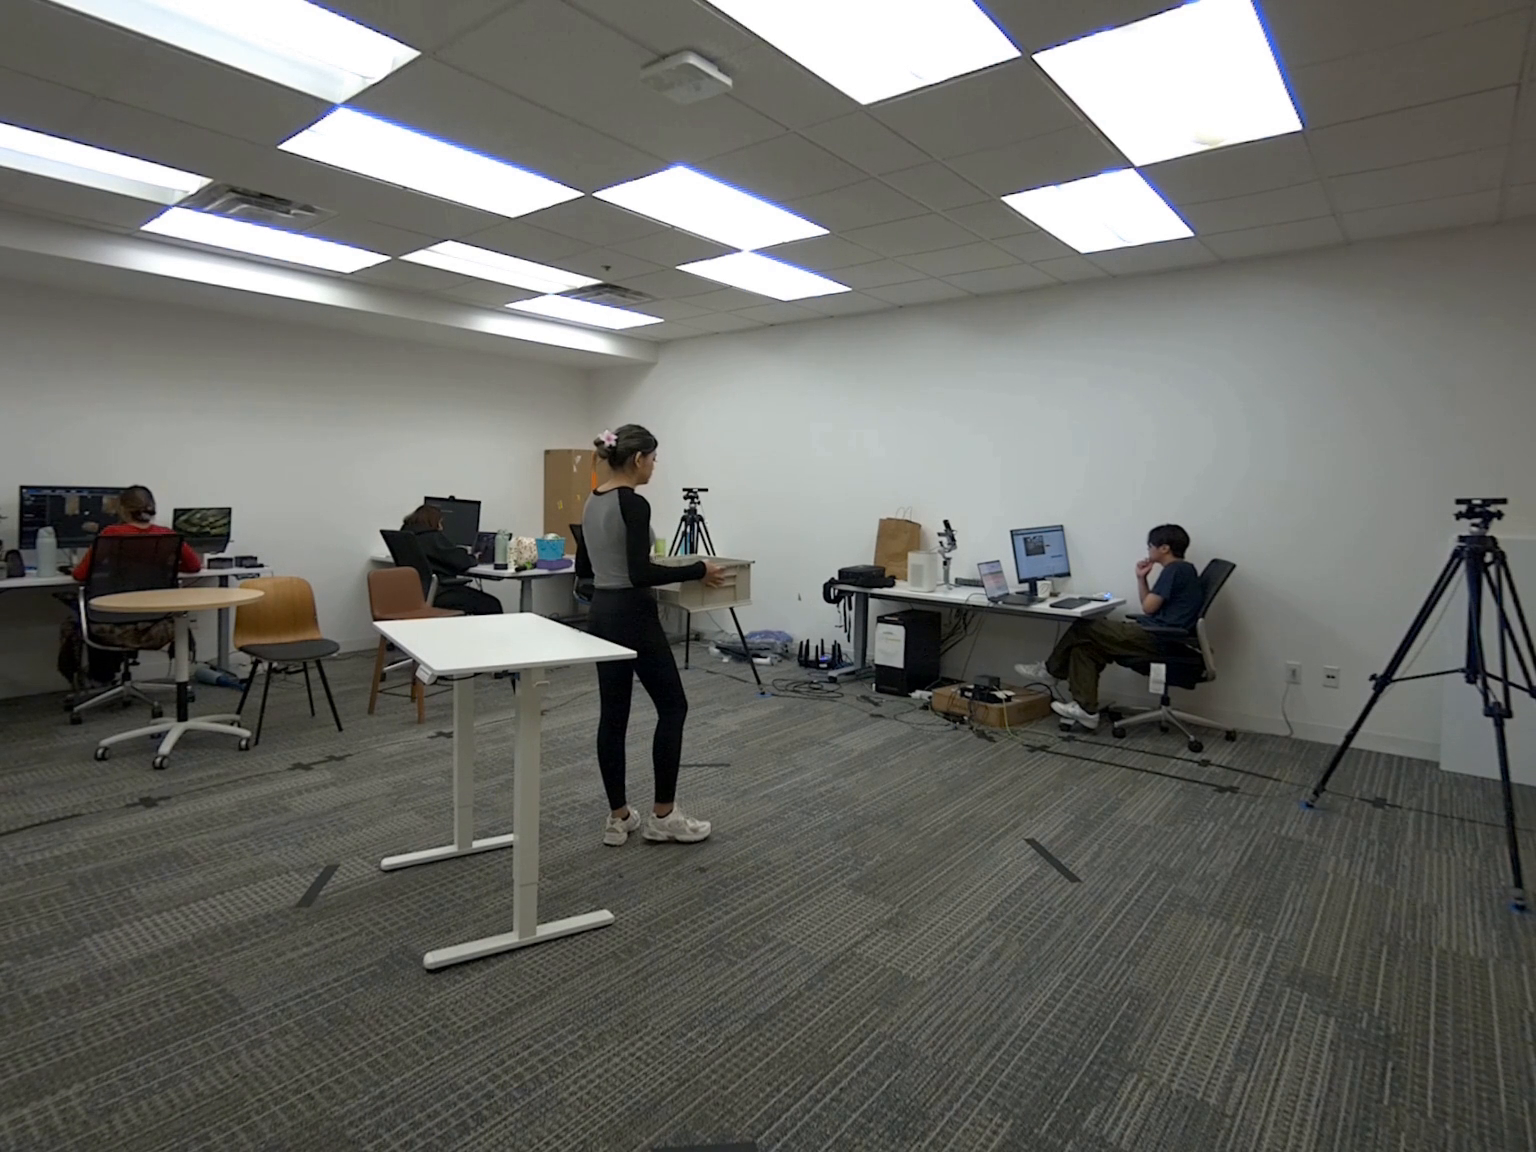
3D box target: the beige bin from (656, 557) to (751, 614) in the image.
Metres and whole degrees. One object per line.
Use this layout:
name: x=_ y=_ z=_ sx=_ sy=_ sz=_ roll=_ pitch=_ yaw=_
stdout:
beige bin: x=-0.344 y=0.024 z=3.526 sx=0.366 sy=0.188 sz=0.436 roll=-4 pitch=6 yaw=-40
